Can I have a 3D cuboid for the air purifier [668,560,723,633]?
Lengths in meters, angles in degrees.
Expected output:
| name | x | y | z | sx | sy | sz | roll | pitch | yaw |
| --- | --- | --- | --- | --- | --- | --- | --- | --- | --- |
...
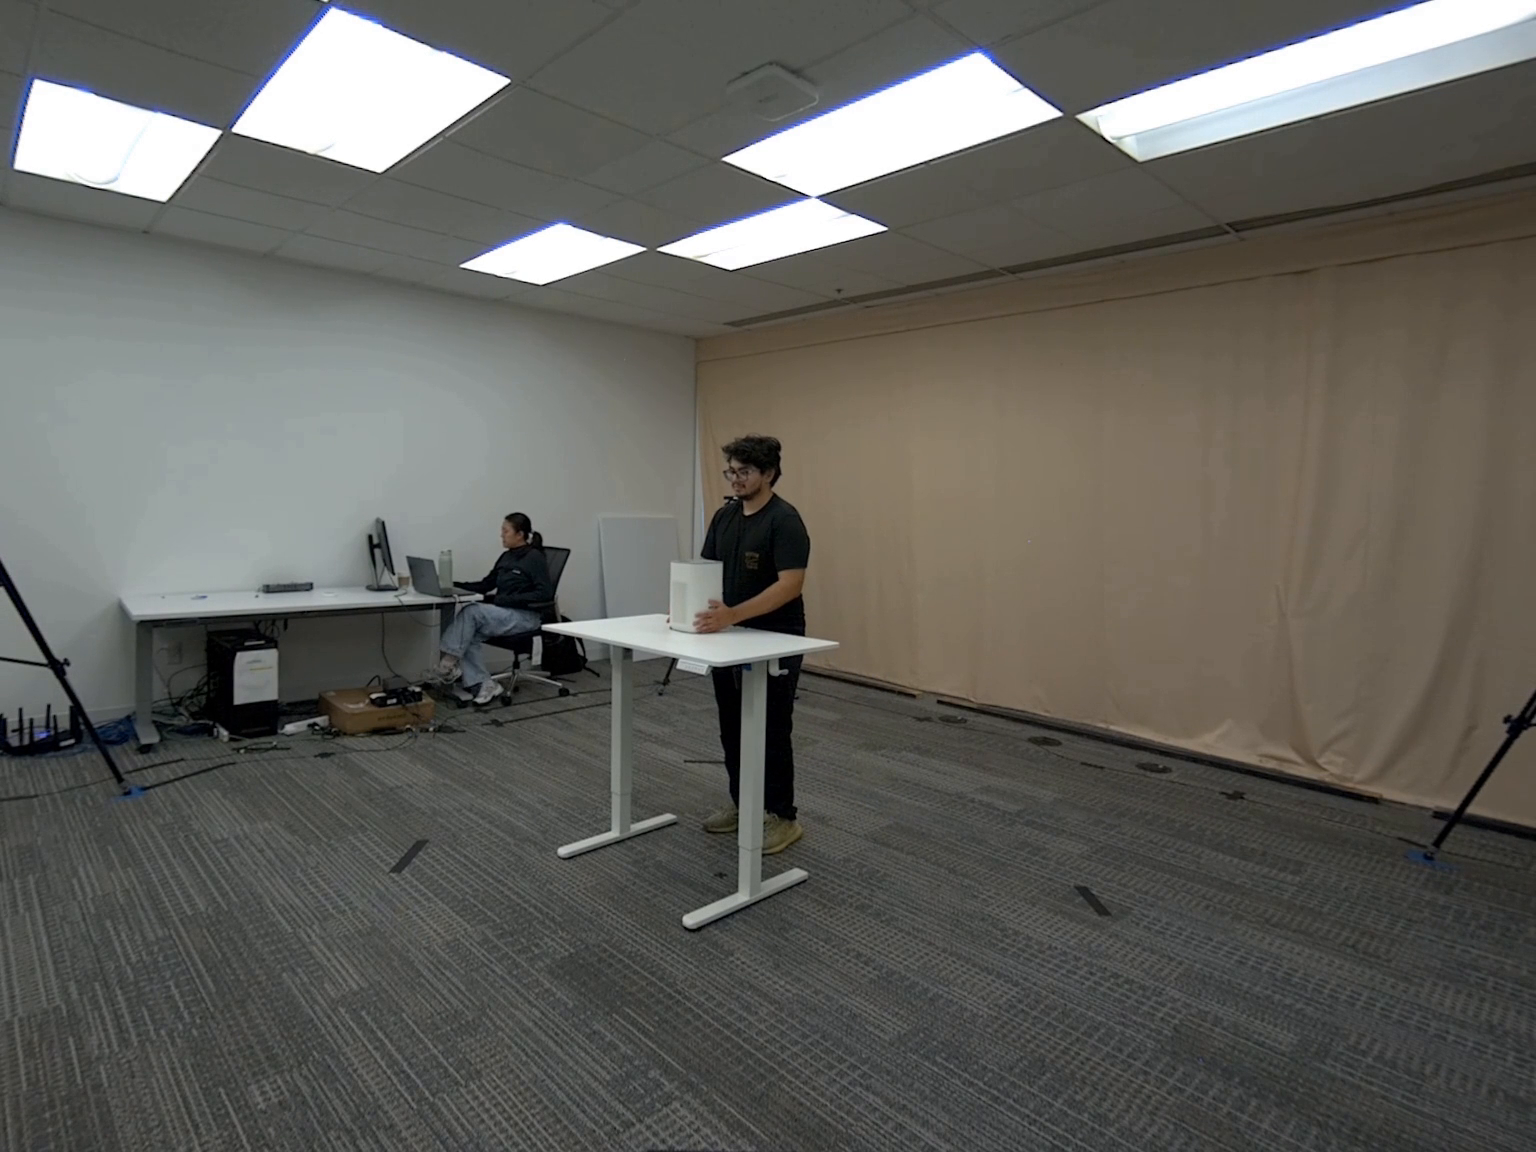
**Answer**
| name | x | y | z | sx | sy | sz | roll | pitch | yaw |
| --- | --- | --- | --- | --- | --- | --- | --- | --- | --- |
| air purifier | -0.279 | 0.077 | 3.204 | 0.167 | 0.265 | 0.176 | -2 | 3 | -42 |
